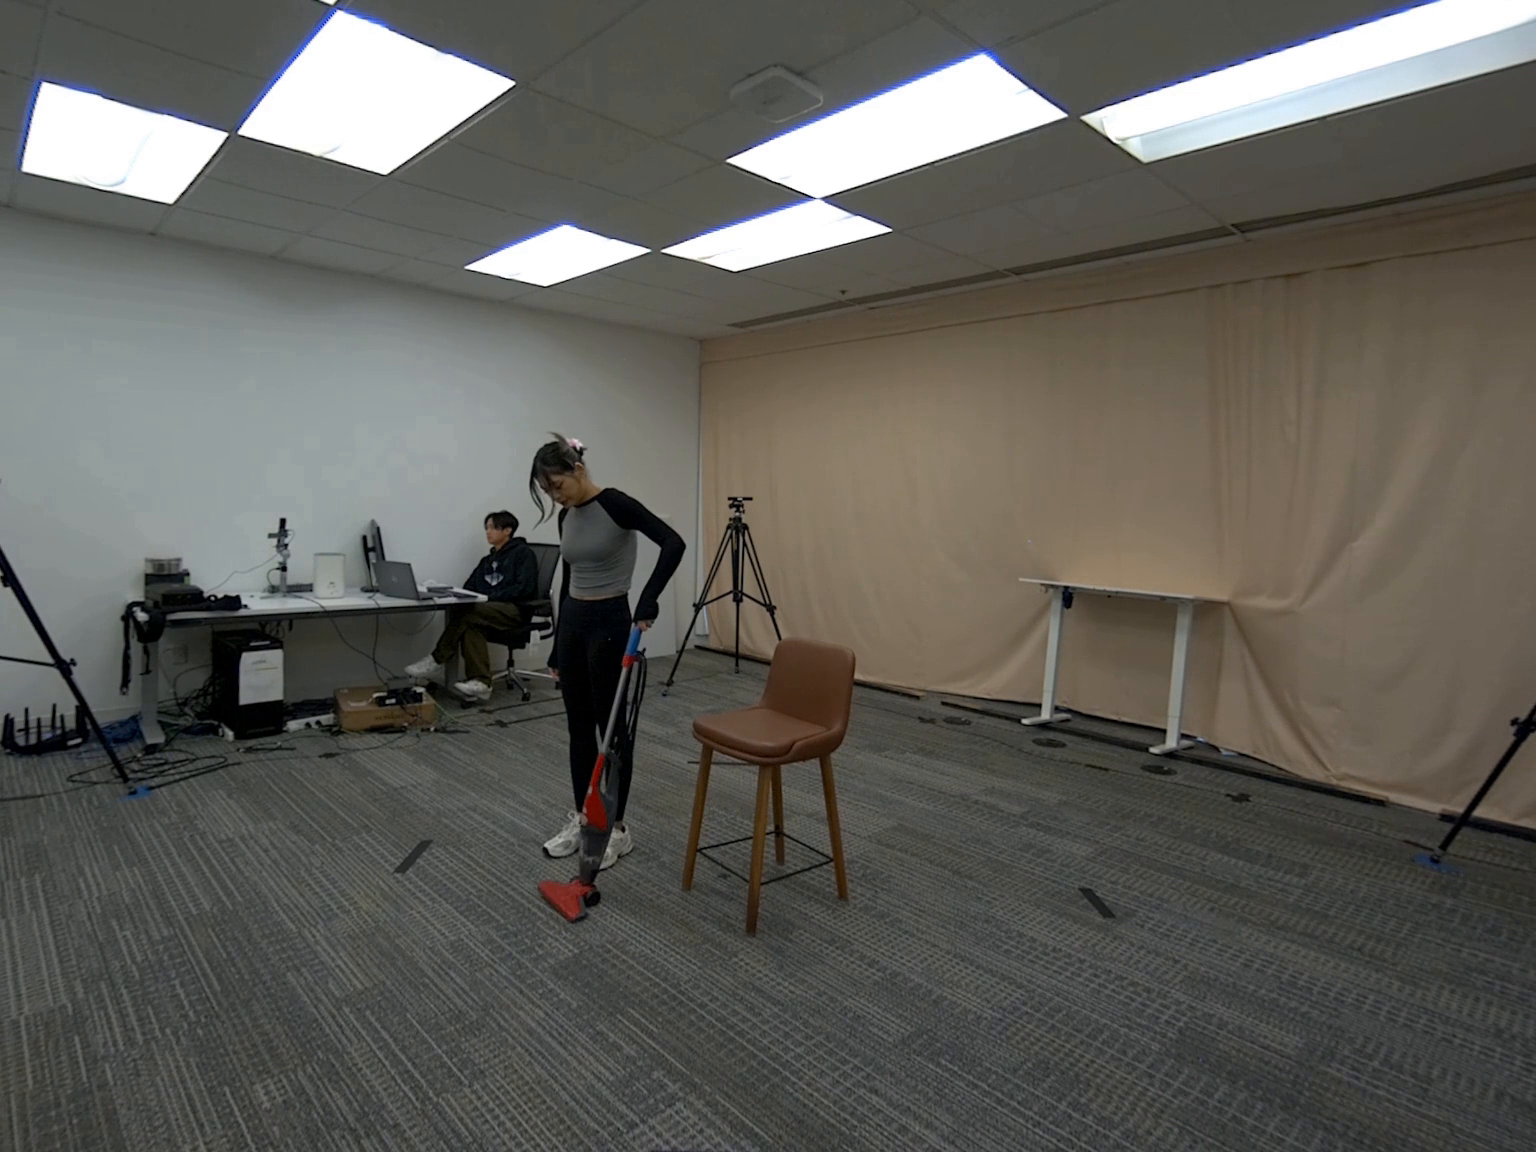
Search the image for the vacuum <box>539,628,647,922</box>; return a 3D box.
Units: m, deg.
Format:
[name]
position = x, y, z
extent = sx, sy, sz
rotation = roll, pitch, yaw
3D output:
[vacuum]
position = -0.534, 0.620, 2.896
extent = 0.259, 1.052, 0.140
rotation = 10, -7, 44
